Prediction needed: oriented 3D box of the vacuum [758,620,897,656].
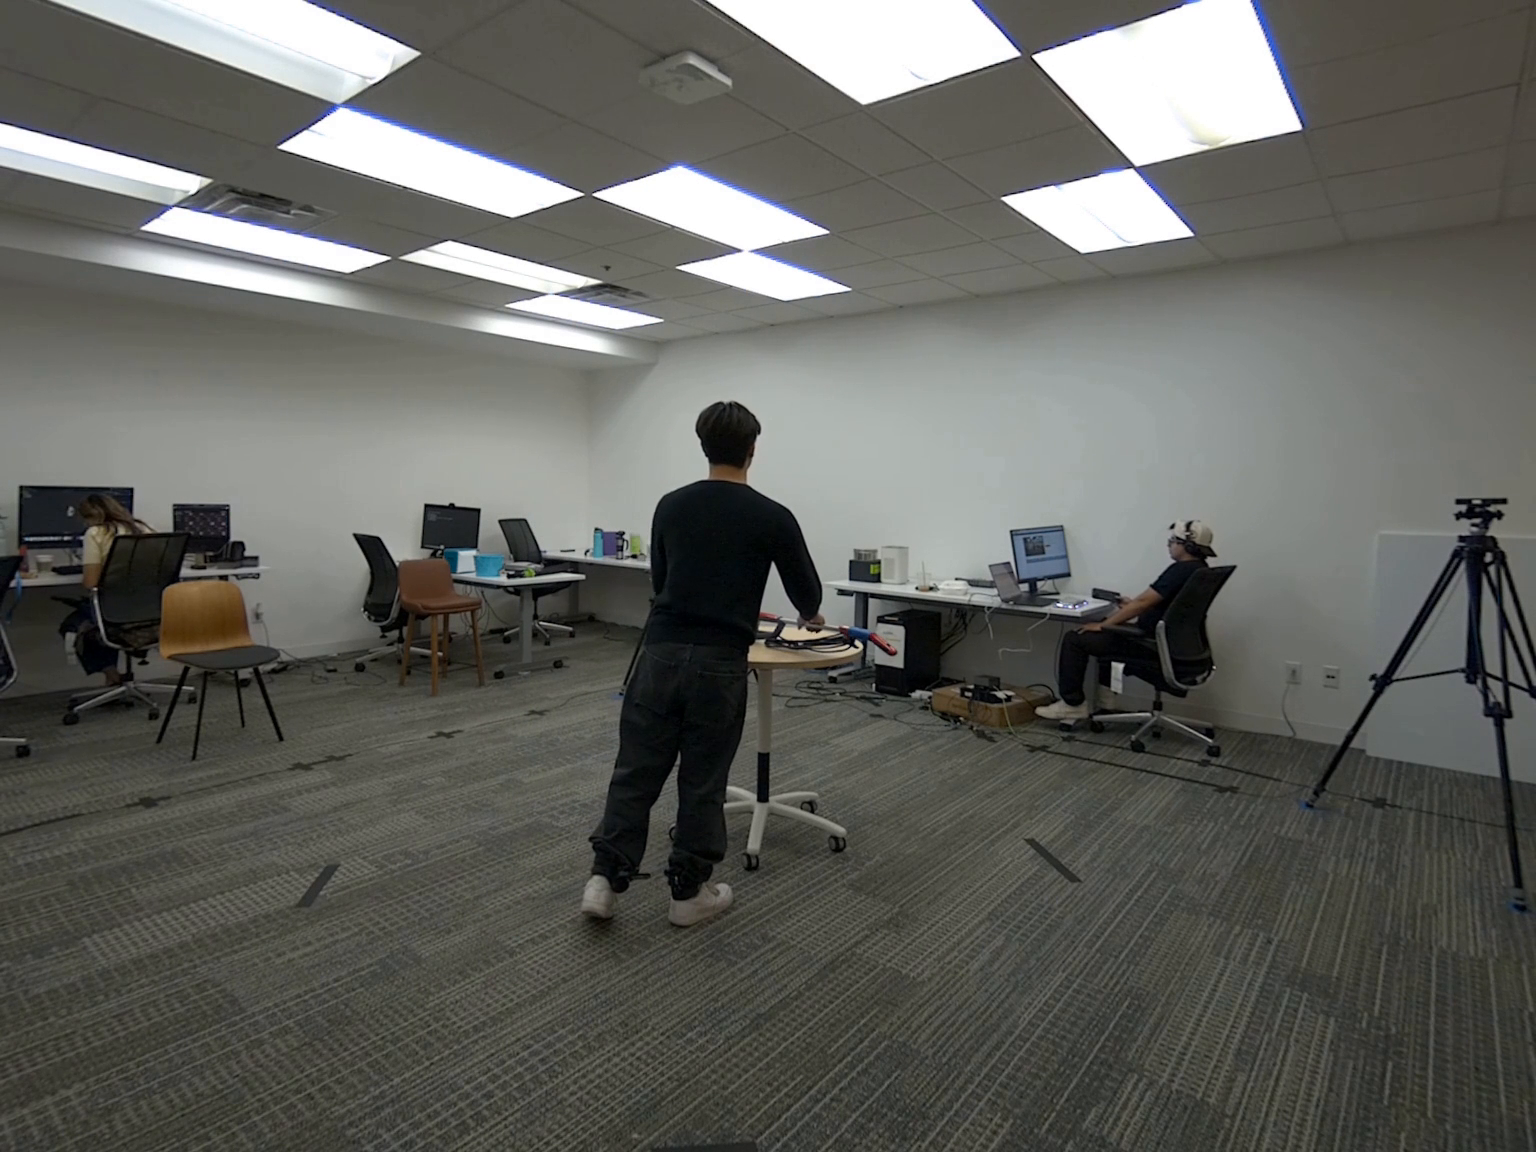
[{"bbox_3d":[0.045,0.225,3.264,0.245,0.144,1.085,-1,4,-42],"label":"vacuum"}]
